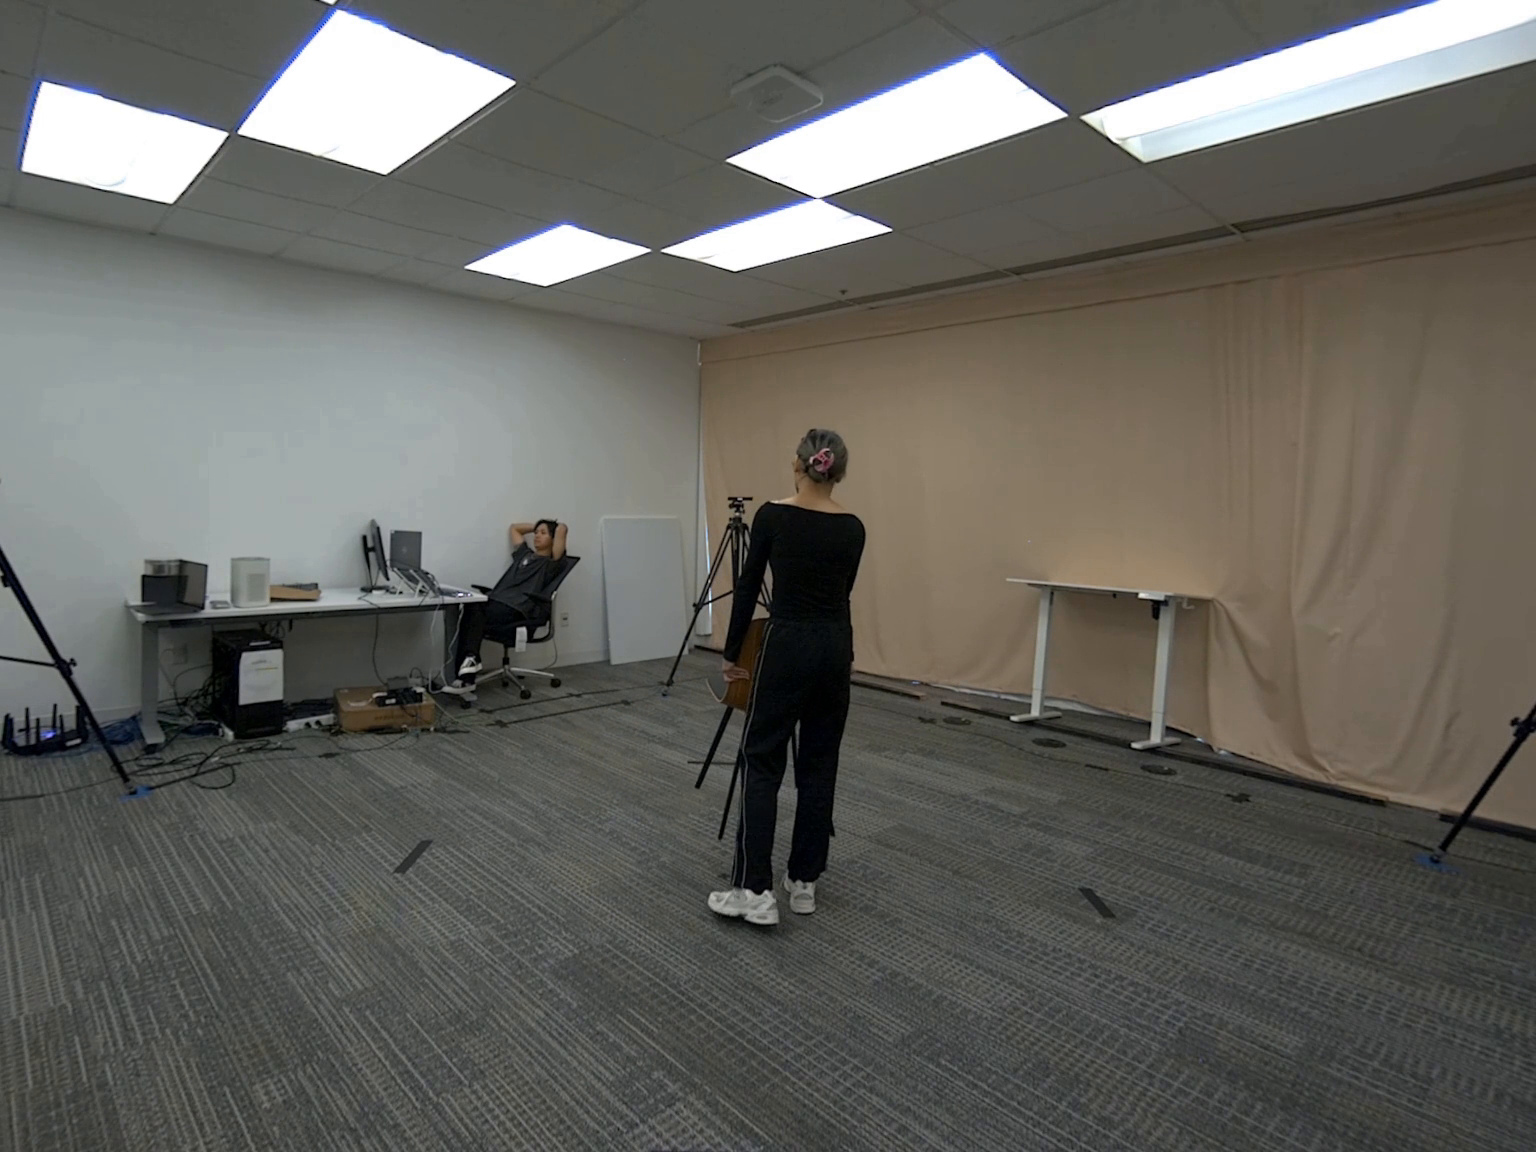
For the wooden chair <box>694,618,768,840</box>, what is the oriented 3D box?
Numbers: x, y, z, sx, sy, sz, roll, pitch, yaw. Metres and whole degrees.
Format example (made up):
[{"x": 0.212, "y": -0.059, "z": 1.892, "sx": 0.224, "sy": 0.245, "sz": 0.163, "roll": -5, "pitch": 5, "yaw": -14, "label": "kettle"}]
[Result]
[{"x": 0.007, "y": 0.510, "z": 3.271, "sx": 0.472, "sy": 0.871, "sz": 0.533, "roll": 3, "pitch": 12, "yaw": -15, "label": "wooden chair"}]
